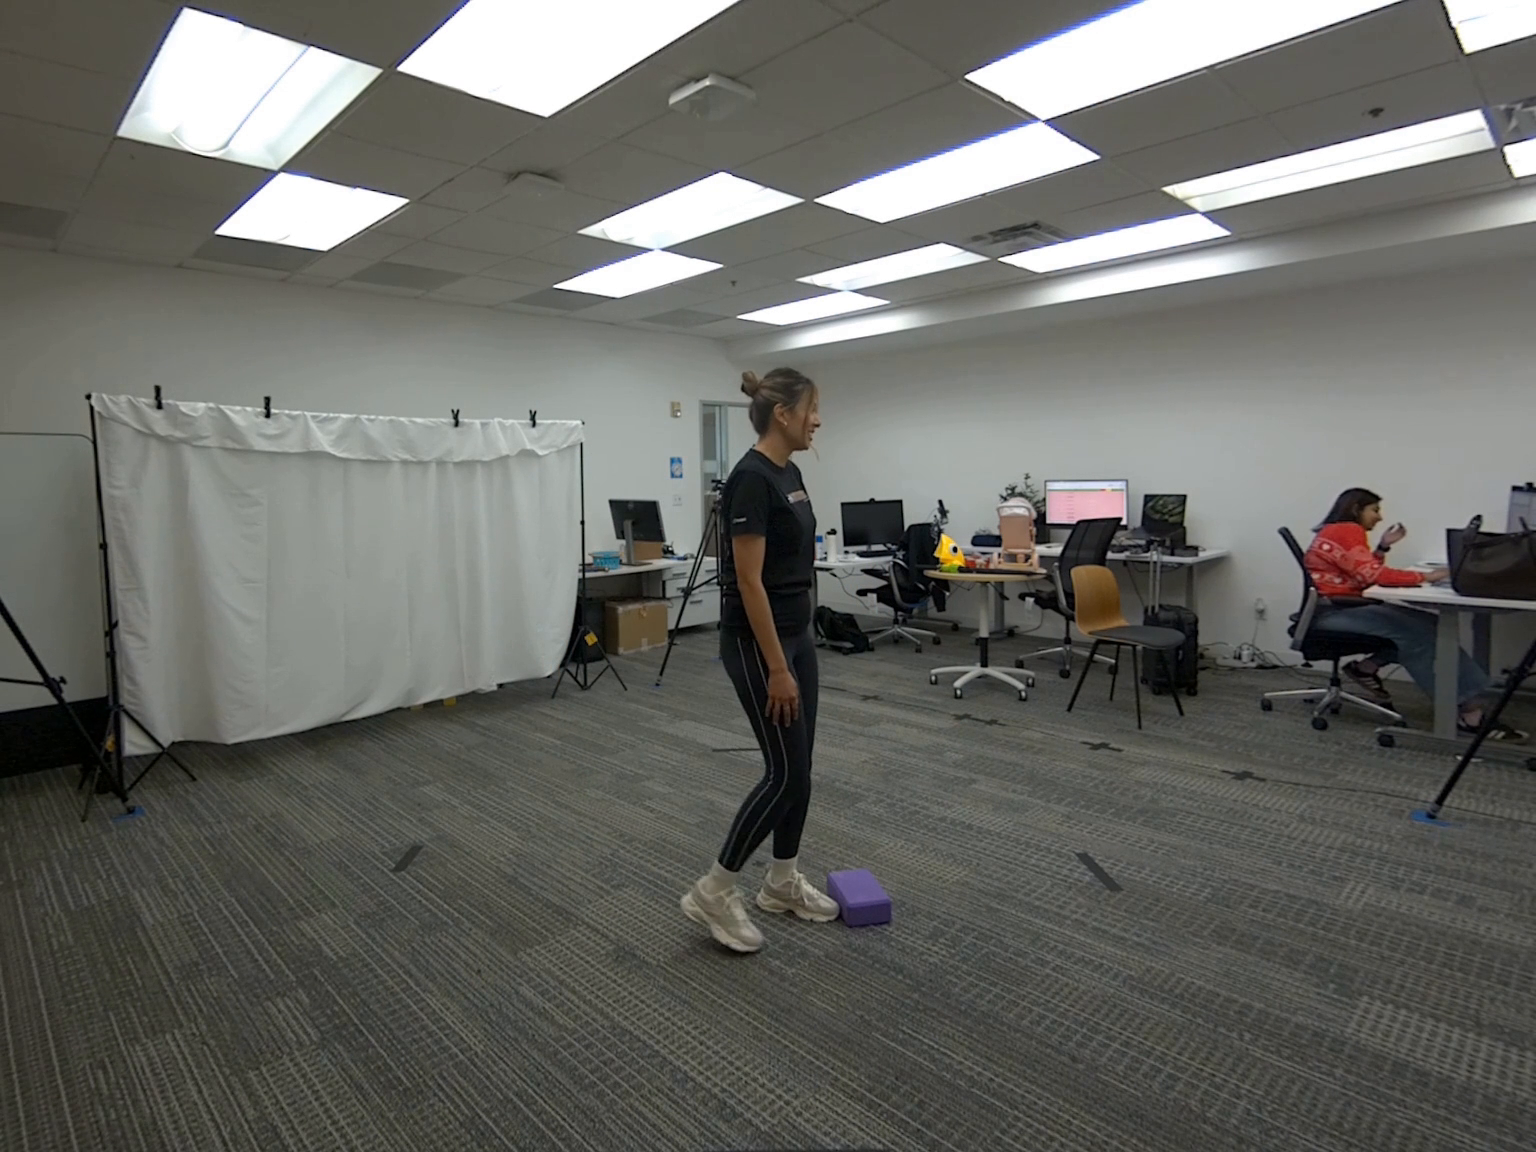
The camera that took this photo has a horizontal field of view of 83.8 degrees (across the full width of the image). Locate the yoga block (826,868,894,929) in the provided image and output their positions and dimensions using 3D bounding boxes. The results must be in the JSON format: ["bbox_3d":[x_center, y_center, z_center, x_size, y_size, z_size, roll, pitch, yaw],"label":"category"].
[{"bbox_3d":[0.295,1.036,2.766,0.148,0.076,0.232,-3,5,-10],"label":"yoga block"}]
